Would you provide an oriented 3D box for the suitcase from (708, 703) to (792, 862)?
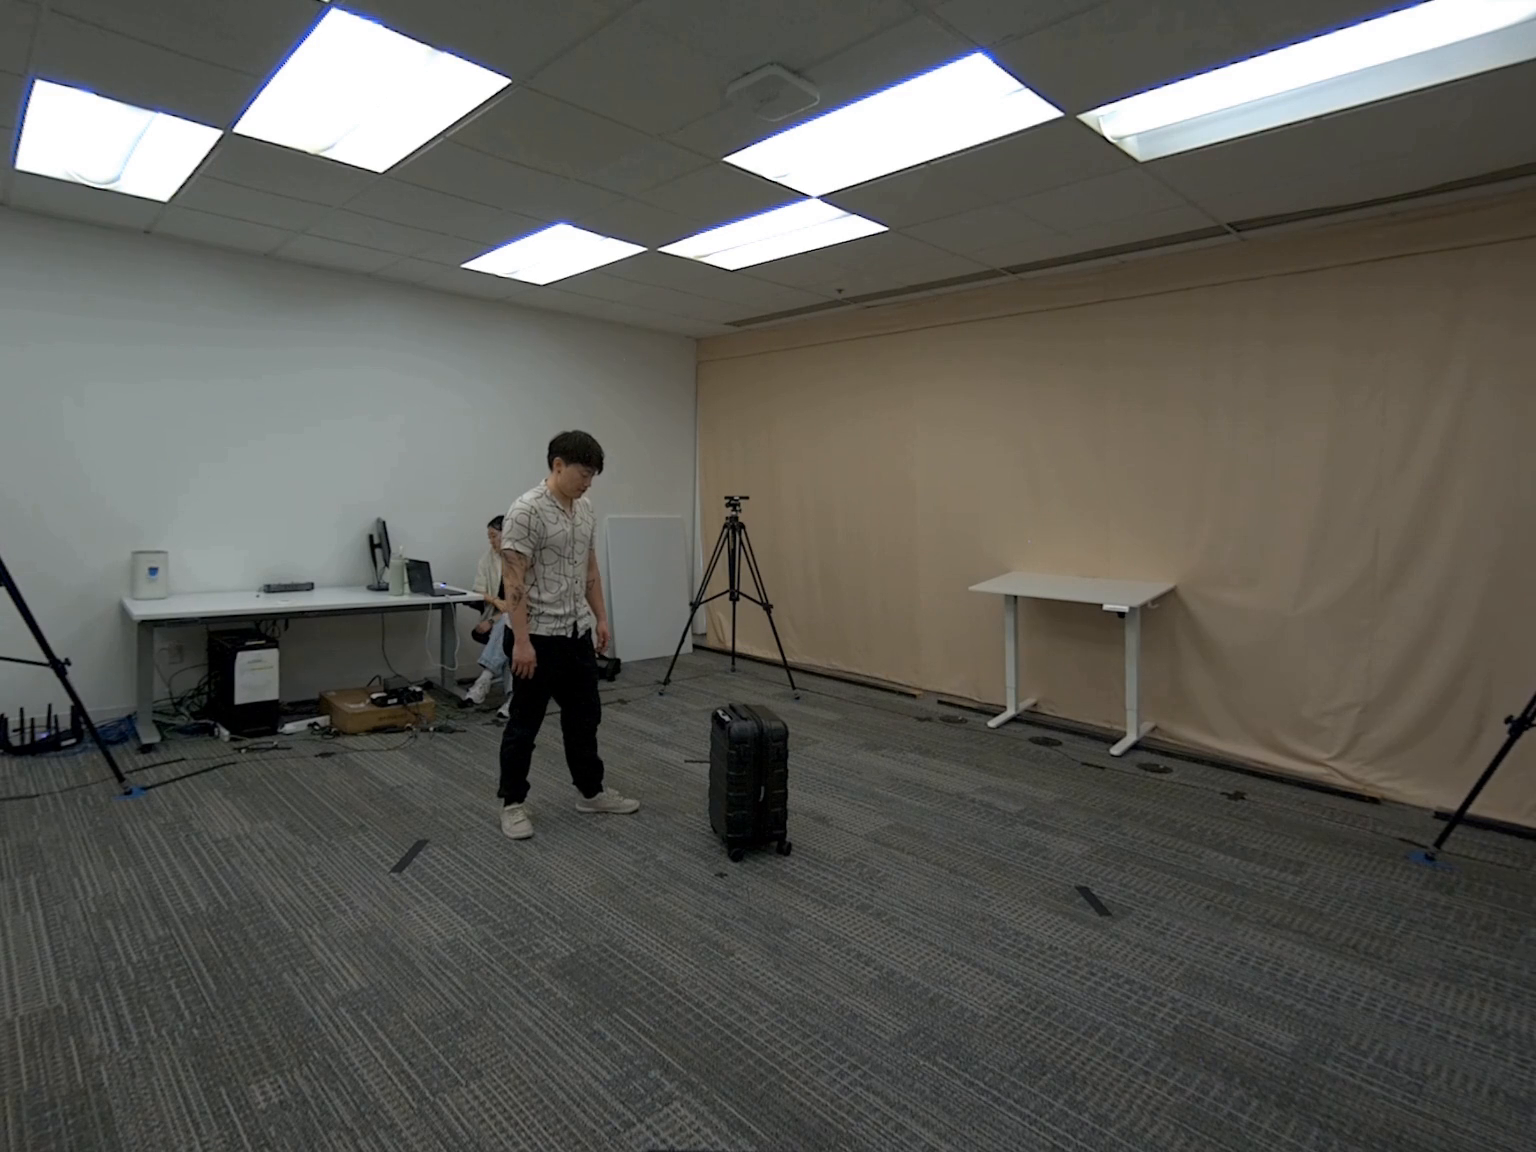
[{"bbox_3d":[-0.086,0.805,3.381,0.245,0.548,0.381,0,3,-17],"label":"suitcase"}]
